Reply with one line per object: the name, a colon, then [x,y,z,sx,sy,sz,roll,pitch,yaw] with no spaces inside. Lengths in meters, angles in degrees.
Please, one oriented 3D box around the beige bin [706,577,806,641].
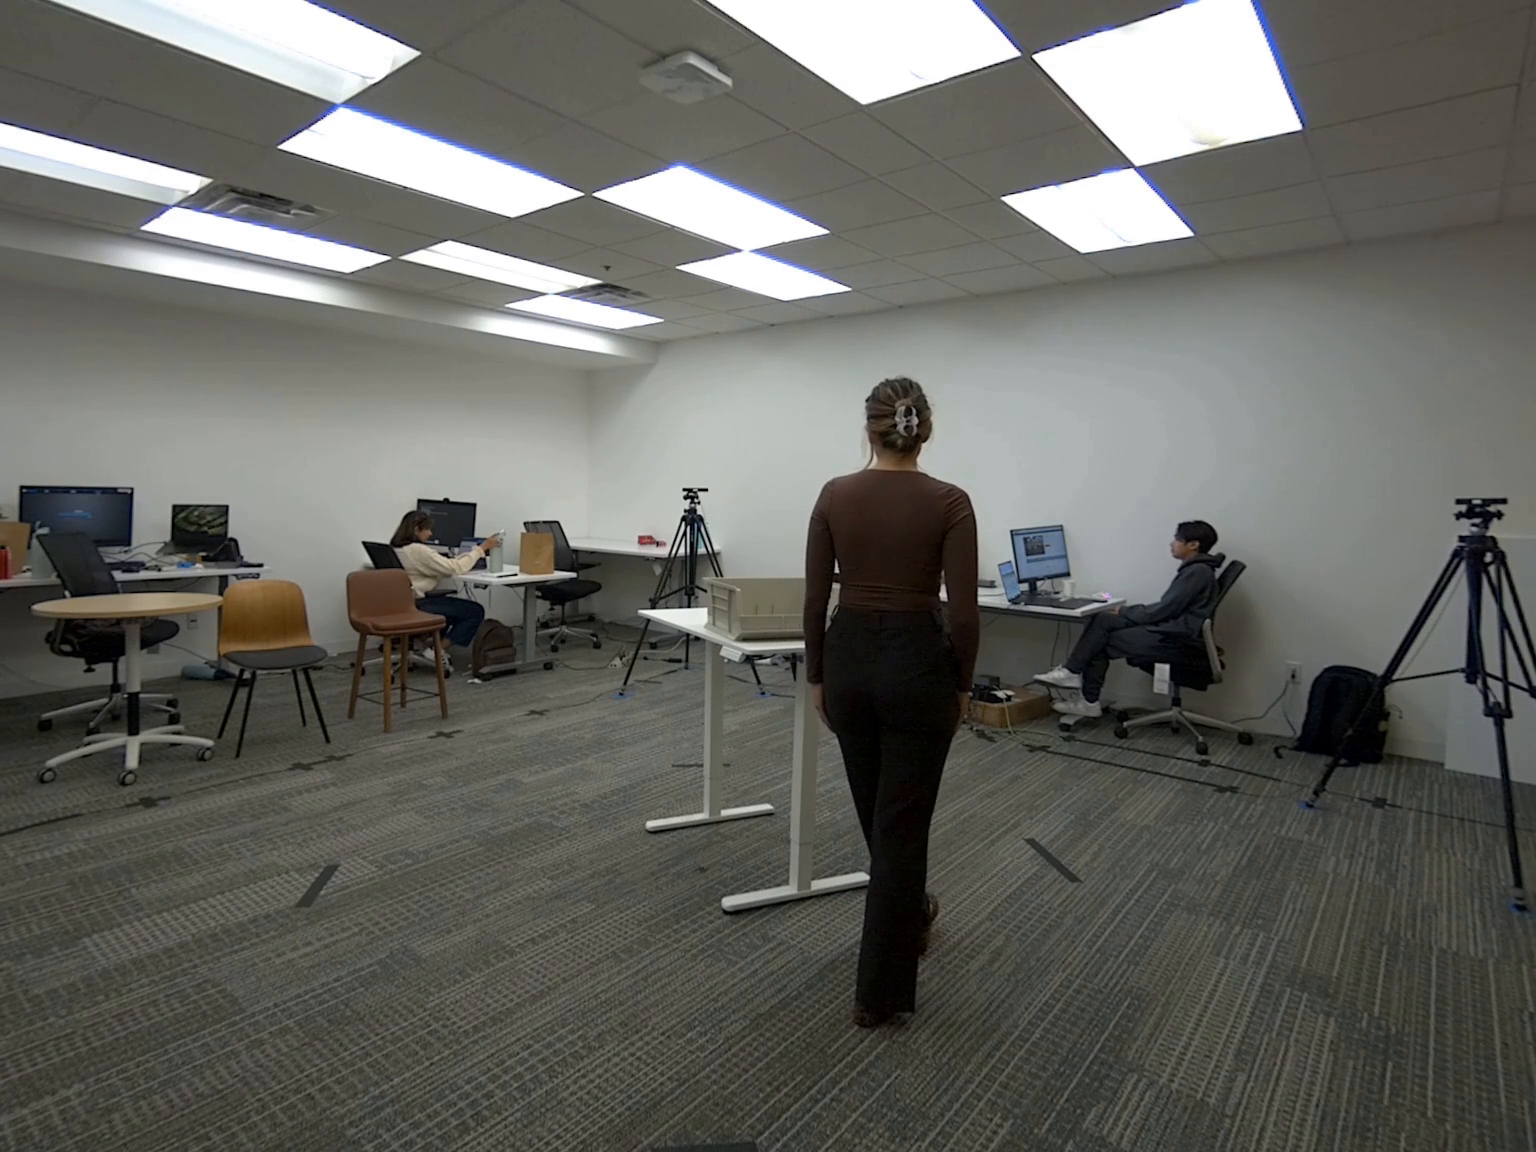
beige bin: [0.019,0.113,2.993,0.413,0.188,0.387,-1,4,-23]
